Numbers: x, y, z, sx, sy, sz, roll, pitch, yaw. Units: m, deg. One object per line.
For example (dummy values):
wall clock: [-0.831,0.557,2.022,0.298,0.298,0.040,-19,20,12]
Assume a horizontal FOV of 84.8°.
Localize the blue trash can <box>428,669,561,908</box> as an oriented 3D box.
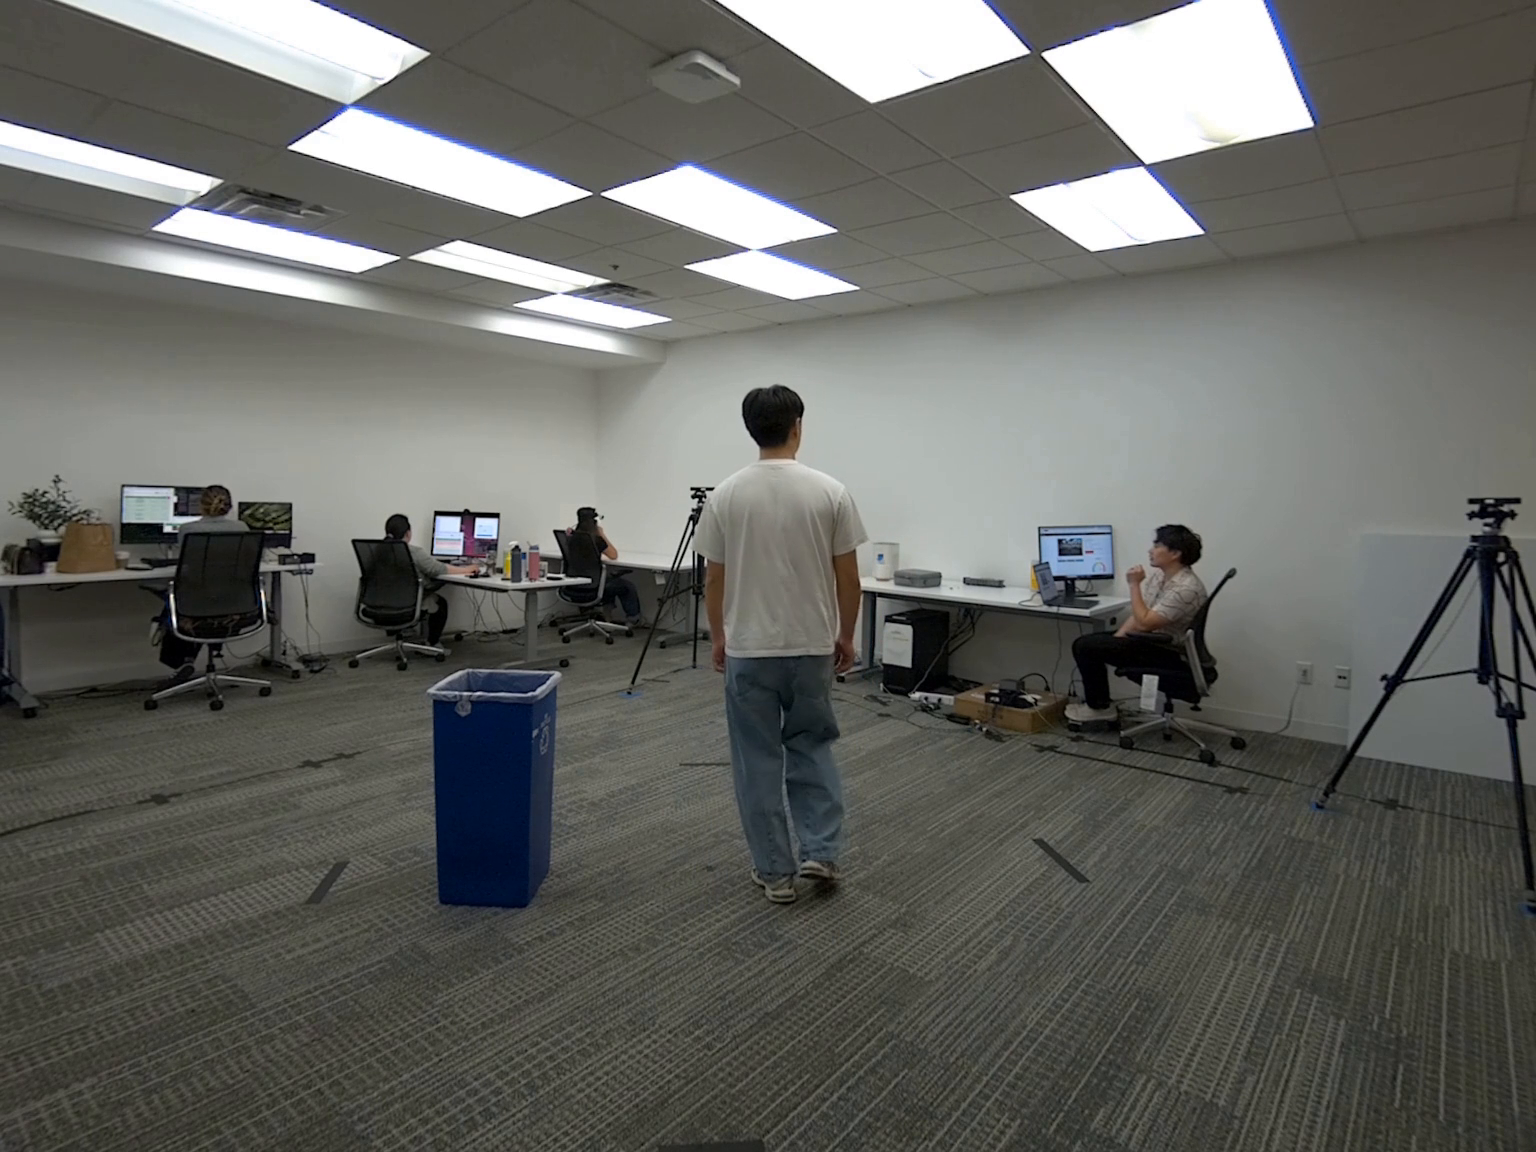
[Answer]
blue trash can: [-0.948,0.714,2.937,0.379,0.711,0.374,1,4,2]
